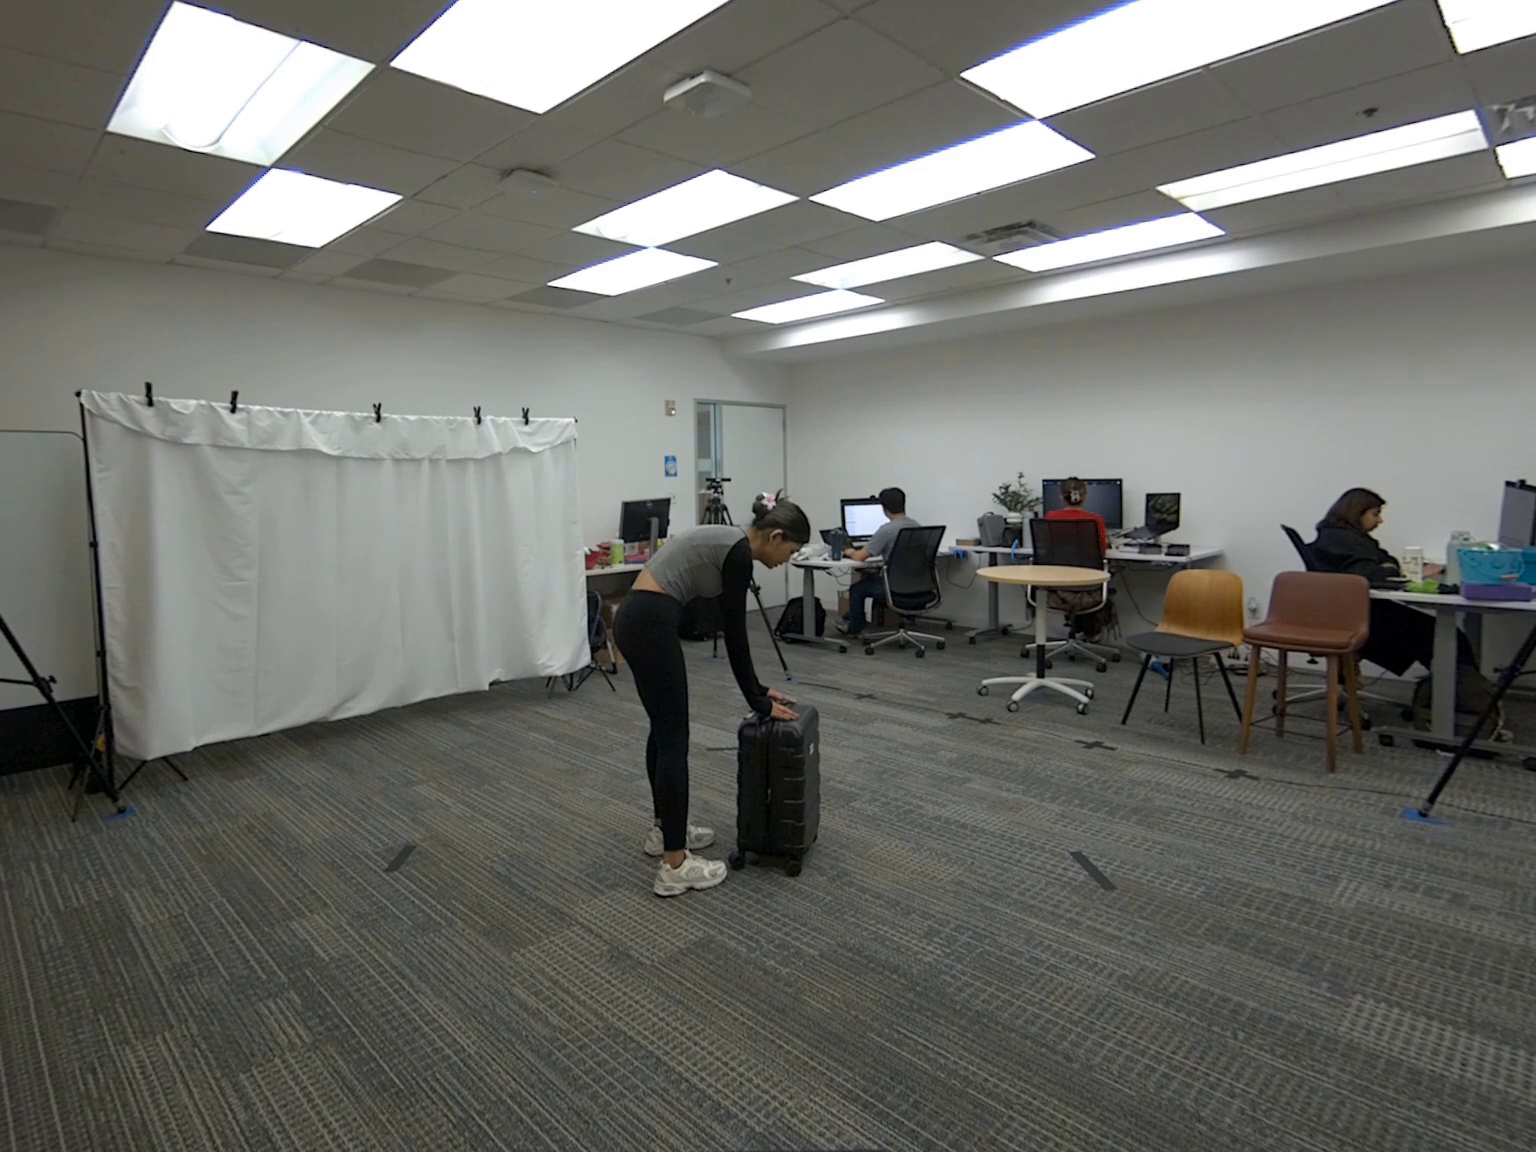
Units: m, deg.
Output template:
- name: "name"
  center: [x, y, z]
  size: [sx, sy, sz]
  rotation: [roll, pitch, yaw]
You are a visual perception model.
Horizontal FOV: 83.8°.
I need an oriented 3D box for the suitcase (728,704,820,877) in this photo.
- name: "suitcase"
  center: [0.044, 0.760, 3.168]
  size: [0.252, 0.547, 0.371]
  rotation: [2, 5, 16]
